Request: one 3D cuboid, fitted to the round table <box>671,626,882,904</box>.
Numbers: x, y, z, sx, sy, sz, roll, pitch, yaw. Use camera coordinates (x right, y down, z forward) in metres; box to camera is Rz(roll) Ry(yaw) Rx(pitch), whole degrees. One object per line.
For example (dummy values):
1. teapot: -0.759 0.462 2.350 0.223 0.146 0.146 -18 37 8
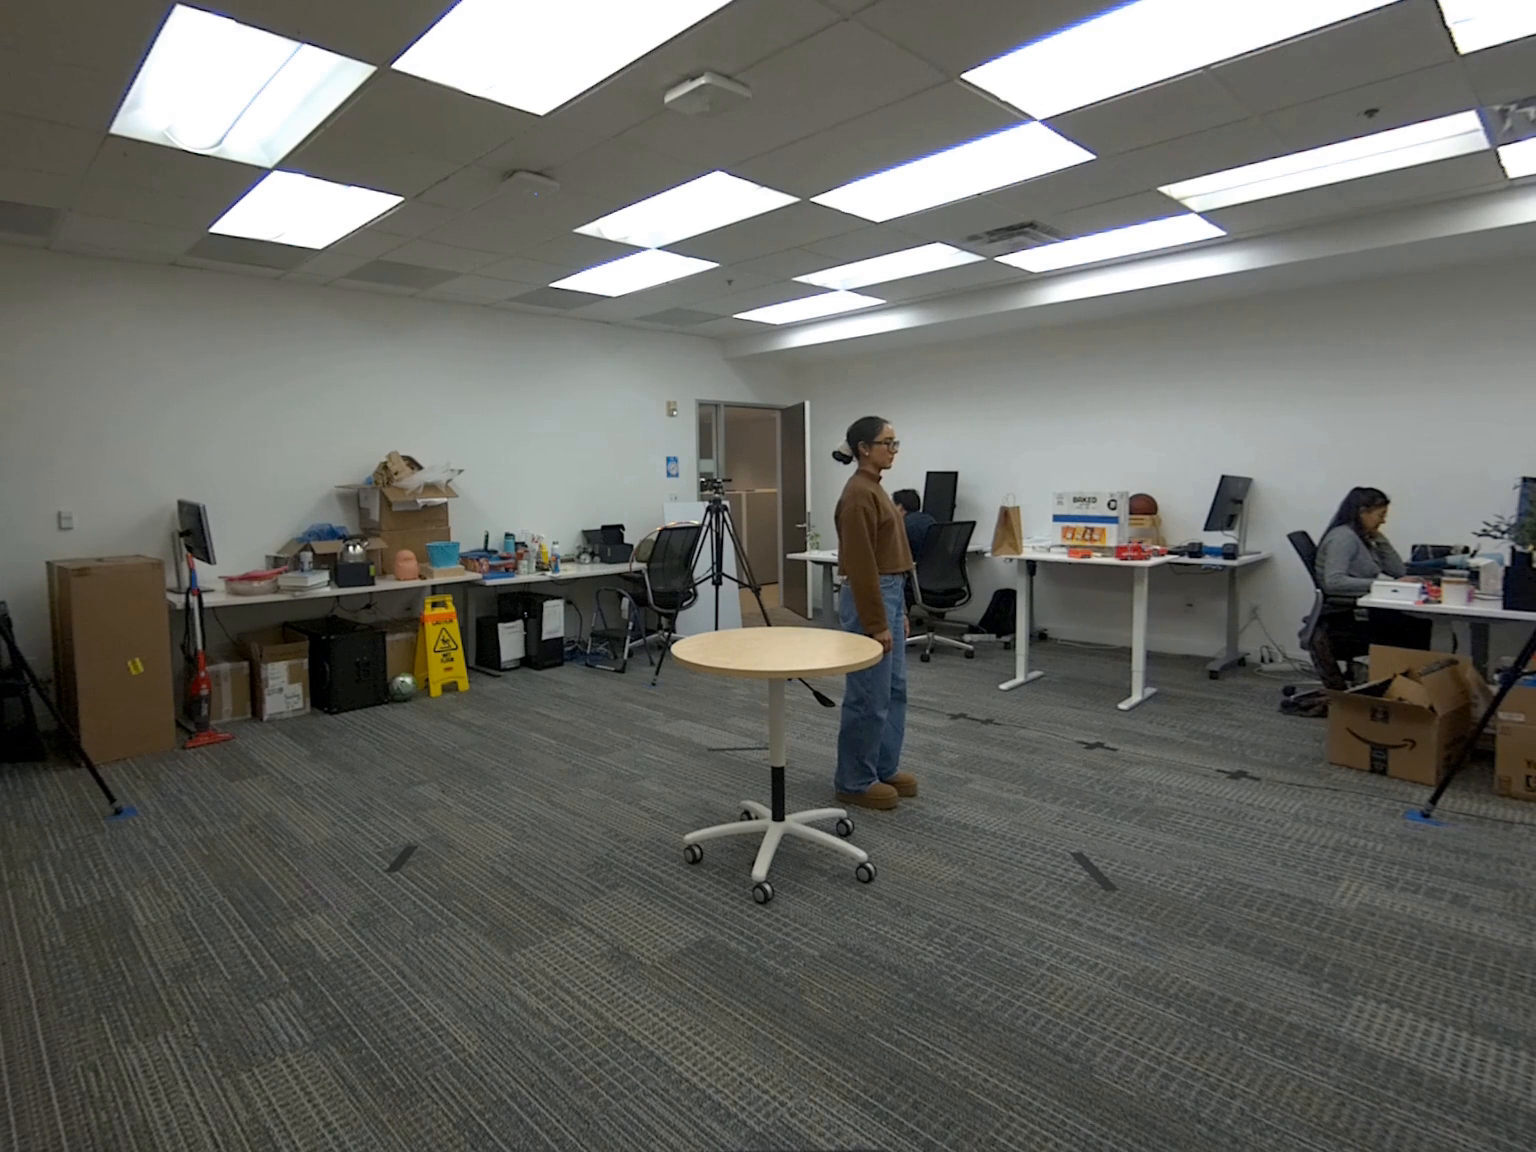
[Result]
1. round table: 0.035 0.649 3.134 0.763 0.791 0.768 -1 5 -2
